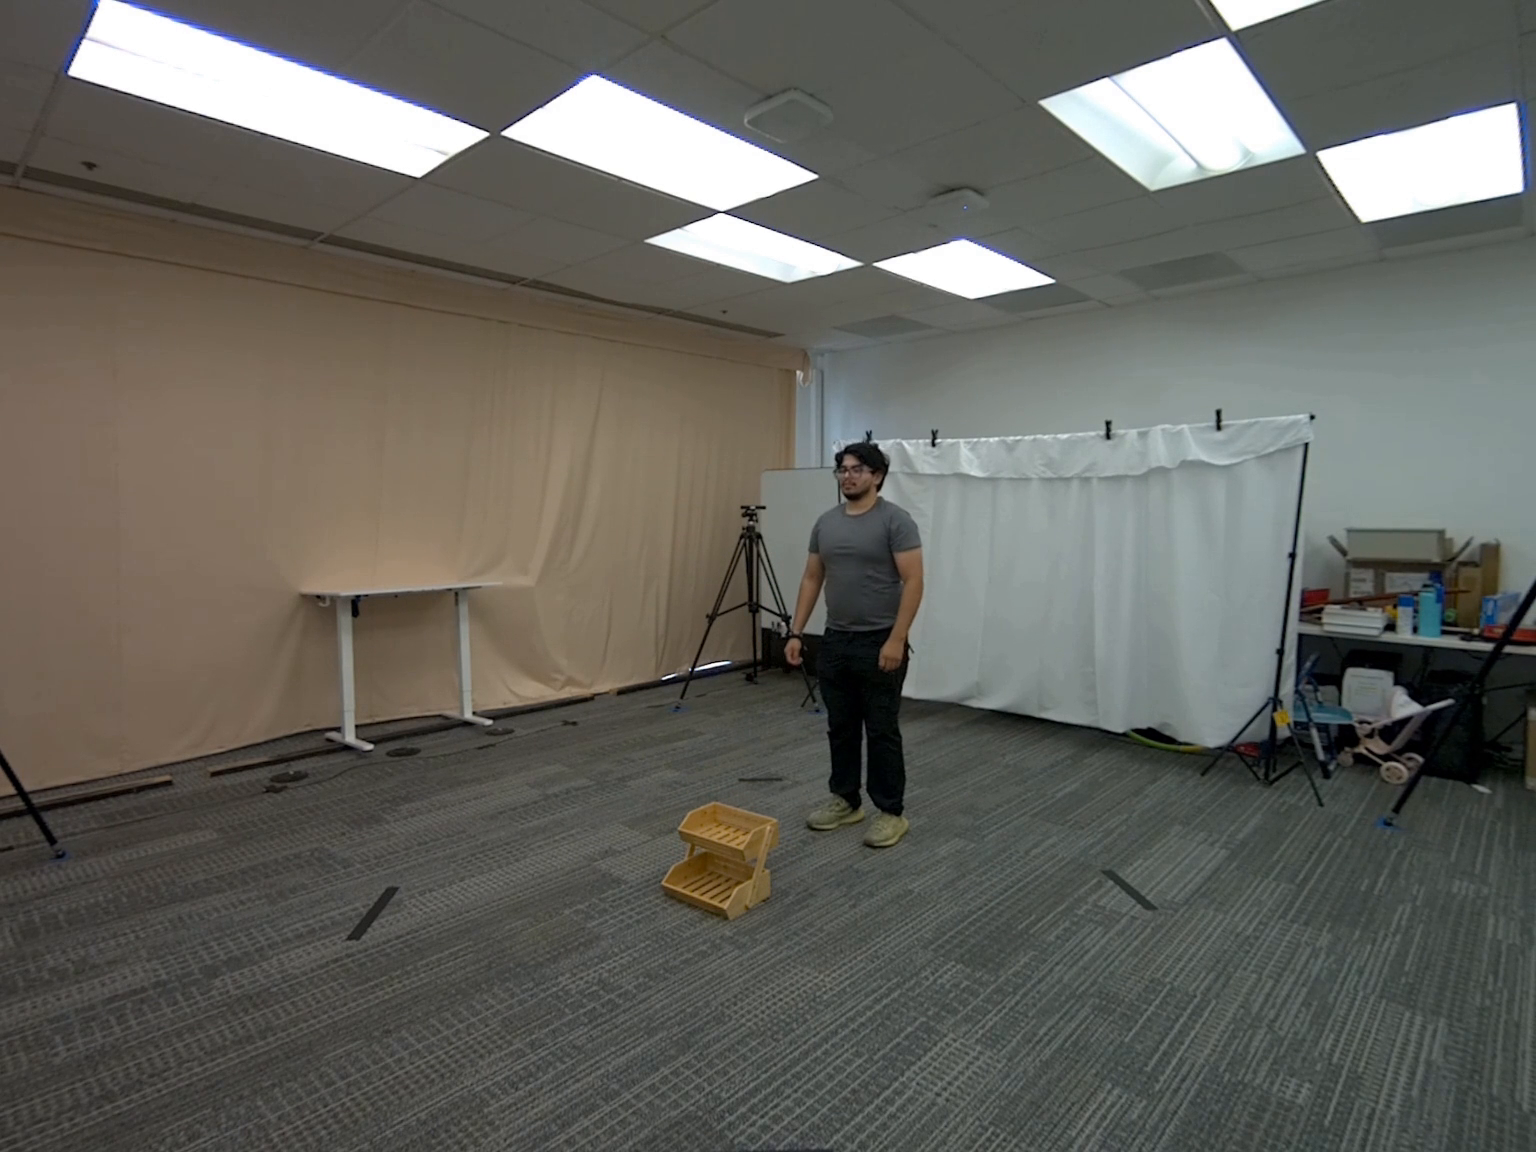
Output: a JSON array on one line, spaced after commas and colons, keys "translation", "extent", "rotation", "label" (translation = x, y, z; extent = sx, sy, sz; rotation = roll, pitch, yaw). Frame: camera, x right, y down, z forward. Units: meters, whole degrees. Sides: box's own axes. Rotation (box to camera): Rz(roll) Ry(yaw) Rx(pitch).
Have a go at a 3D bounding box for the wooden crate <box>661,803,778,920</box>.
[{"translation": [-0.168, 1.008, 3.016], "extent": [0.335, 0.273, 0.293], "rotation": [3, 5, 38], "label": "wooden crate"}]
